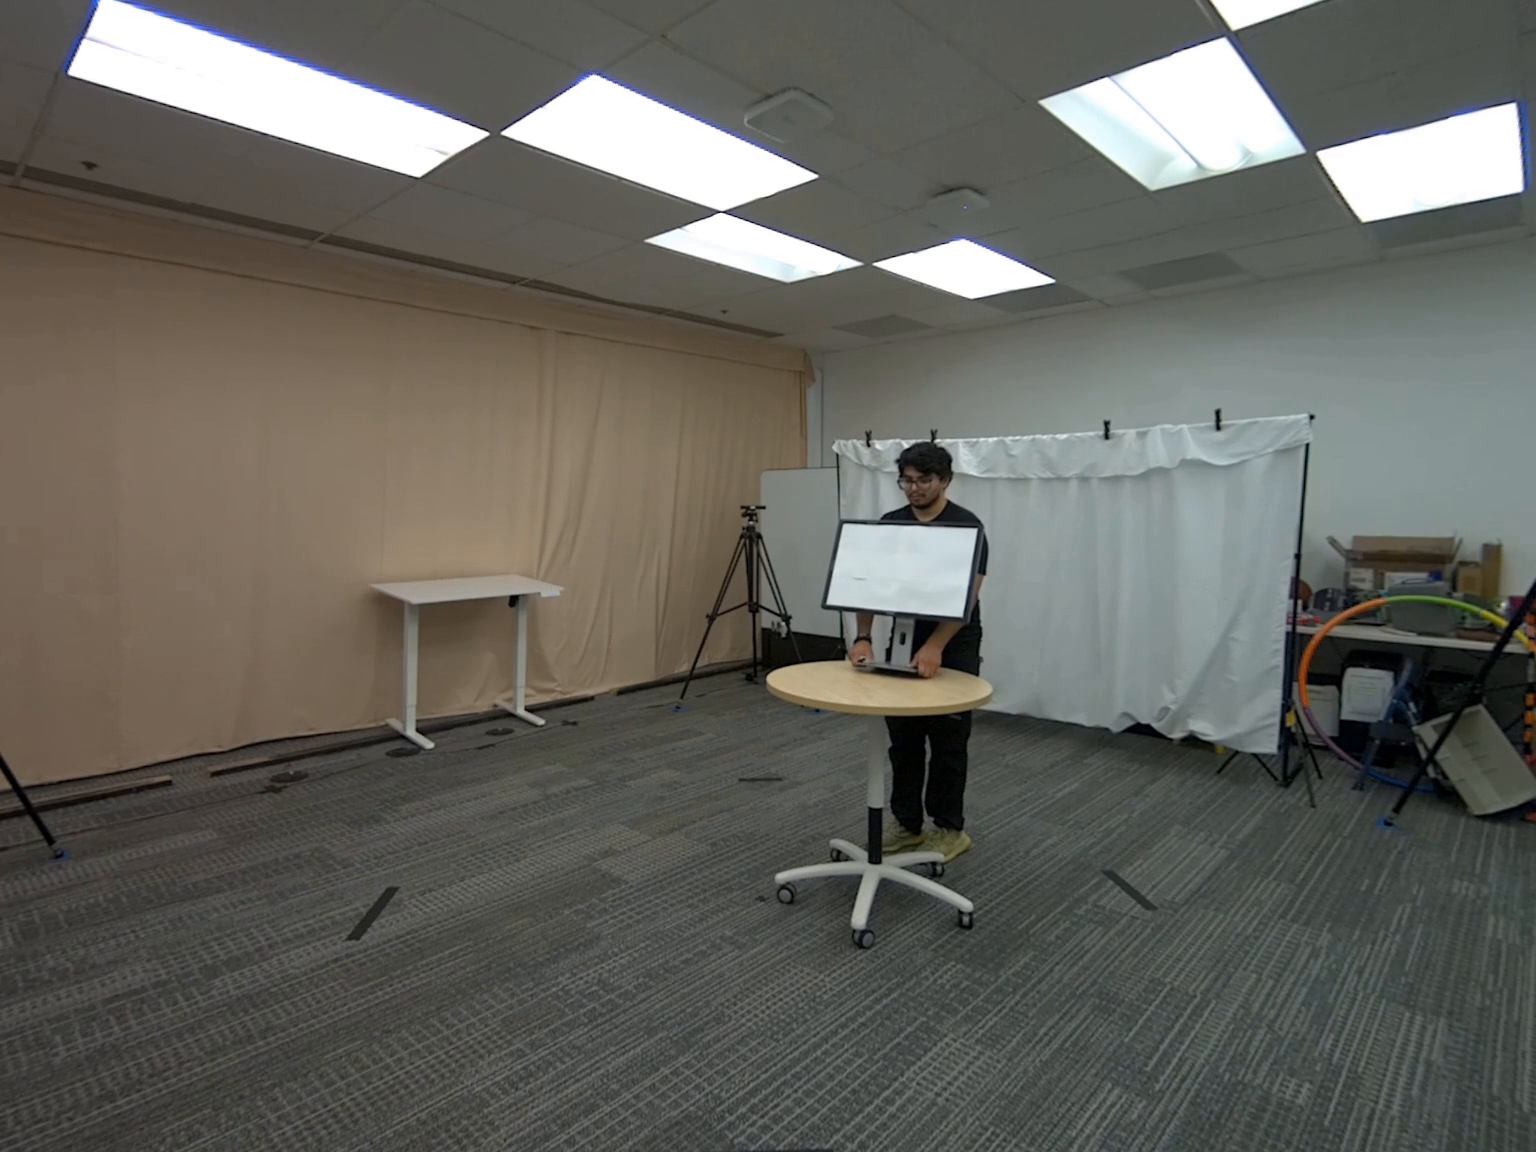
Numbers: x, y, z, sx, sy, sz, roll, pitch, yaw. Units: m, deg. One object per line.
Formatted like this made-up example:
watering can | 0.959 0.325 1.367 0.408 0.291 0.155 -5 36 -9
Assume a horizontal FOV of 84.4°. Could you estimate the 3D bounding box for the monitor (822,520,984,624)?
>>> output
monitor | 0.508 0.077 3.110 0.583 0.556 0.203 3 -12 36
